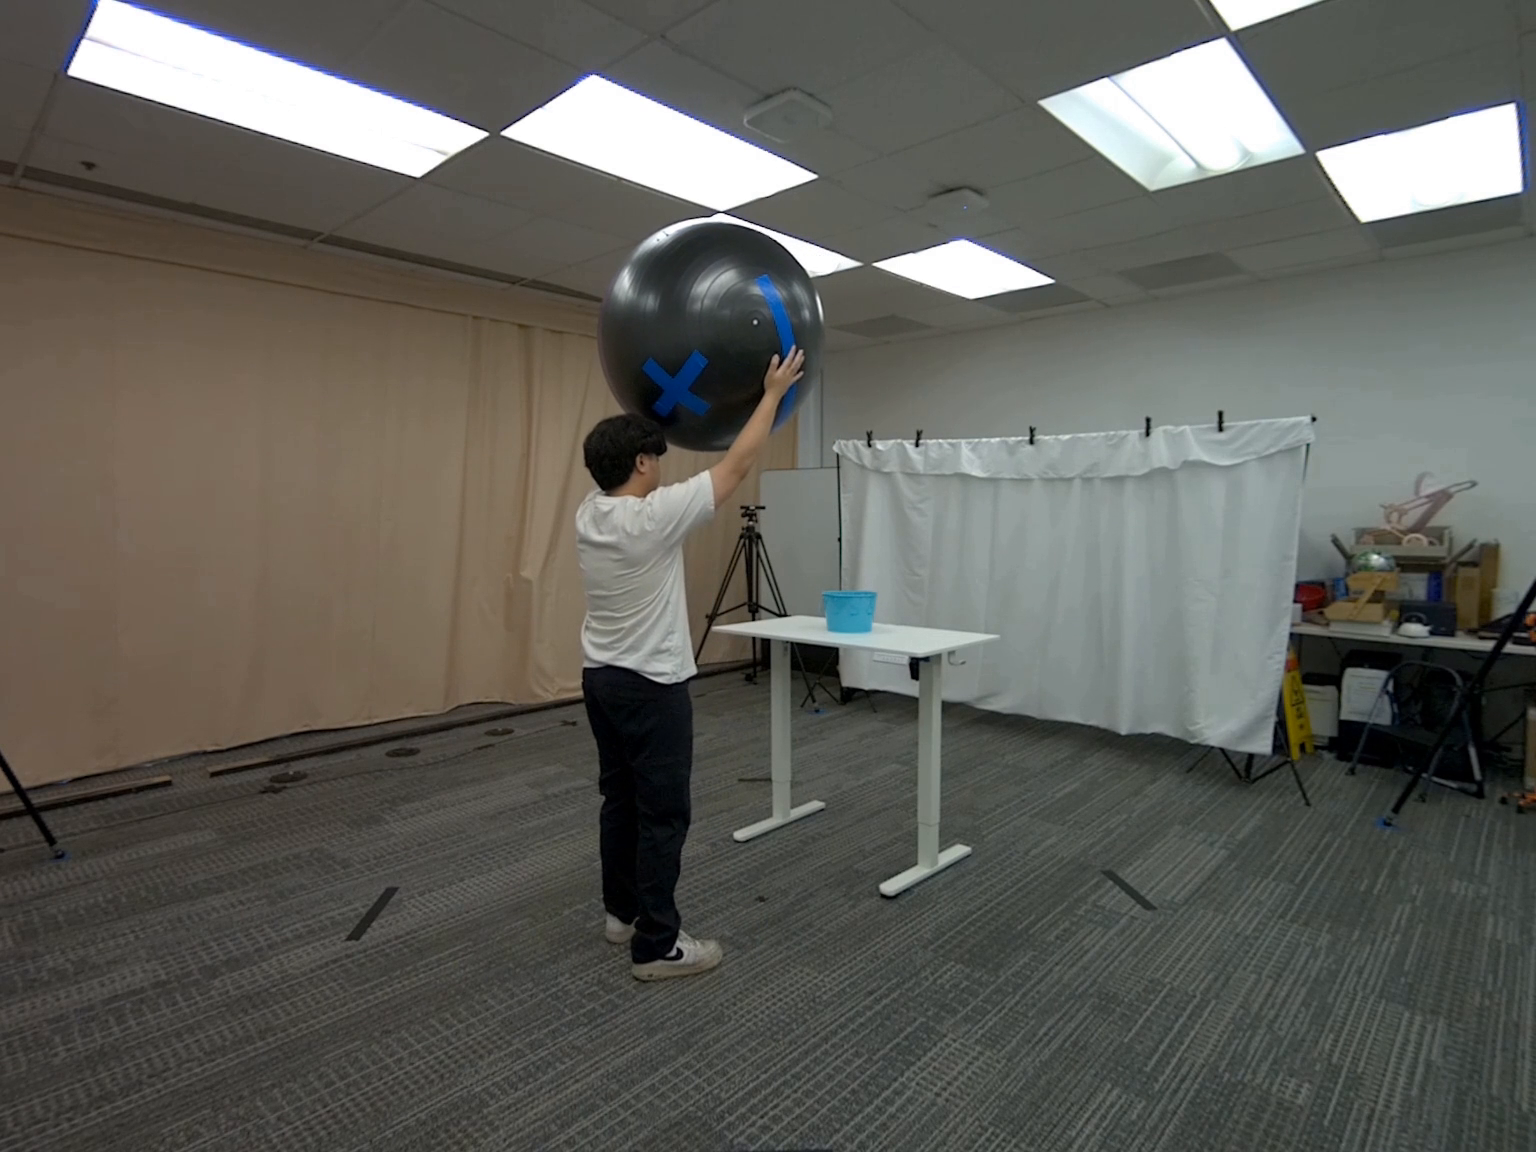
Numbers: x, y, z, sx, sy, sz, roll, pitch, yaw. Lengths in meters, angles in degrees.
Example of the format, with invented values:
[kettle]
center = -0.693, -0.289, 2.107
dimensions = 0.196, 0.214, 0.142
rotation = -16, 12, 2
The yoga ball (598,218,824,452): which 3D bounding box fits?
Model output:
[yoga ball]
center = -0.181, -0.796, 2.832
dimensions = 0.757, 0.756, 0.760
rotation = 0, 4, -2
